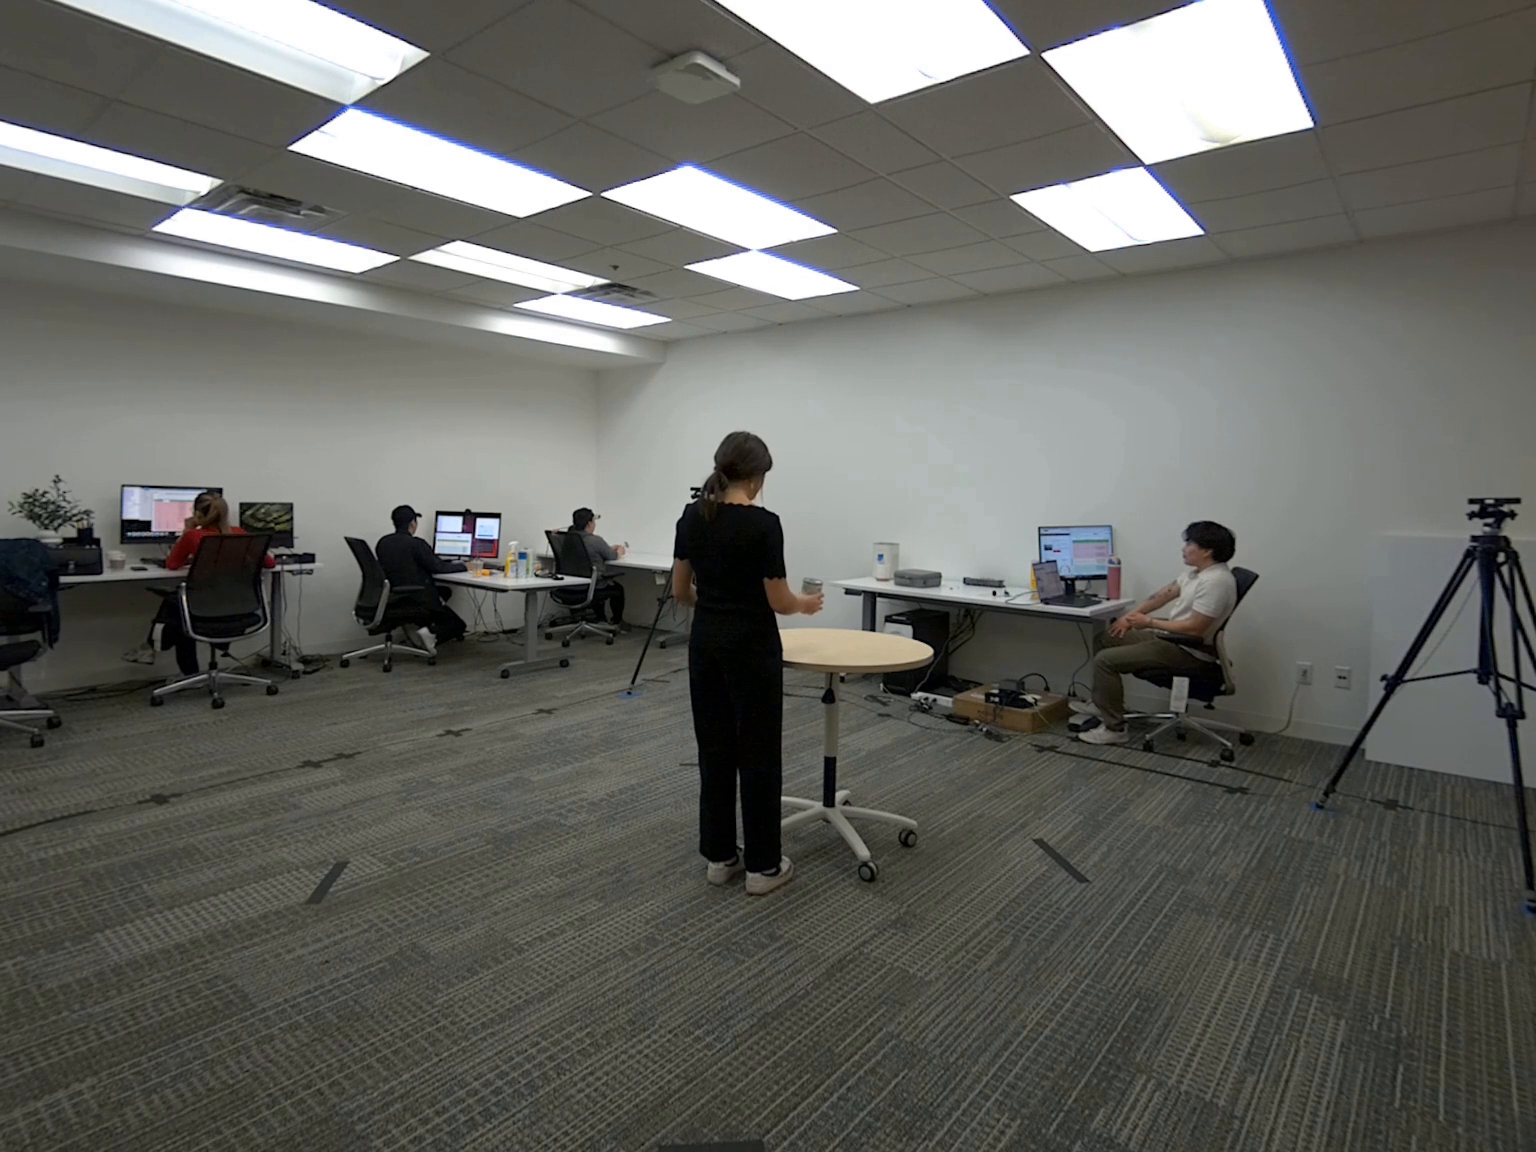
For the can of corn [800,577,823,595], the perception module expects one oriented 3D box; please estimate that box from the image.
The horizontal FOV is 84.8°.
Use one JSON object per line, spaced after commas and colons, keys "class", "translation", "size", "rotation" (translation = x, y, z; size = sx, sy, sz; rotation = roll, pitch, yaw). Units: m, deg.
{"class": "can of corn", "translation": [0.155, 0.068, 3.185], "size": [0.074, 0.110, 0.075], "rotation": [6, 8, -3]}
